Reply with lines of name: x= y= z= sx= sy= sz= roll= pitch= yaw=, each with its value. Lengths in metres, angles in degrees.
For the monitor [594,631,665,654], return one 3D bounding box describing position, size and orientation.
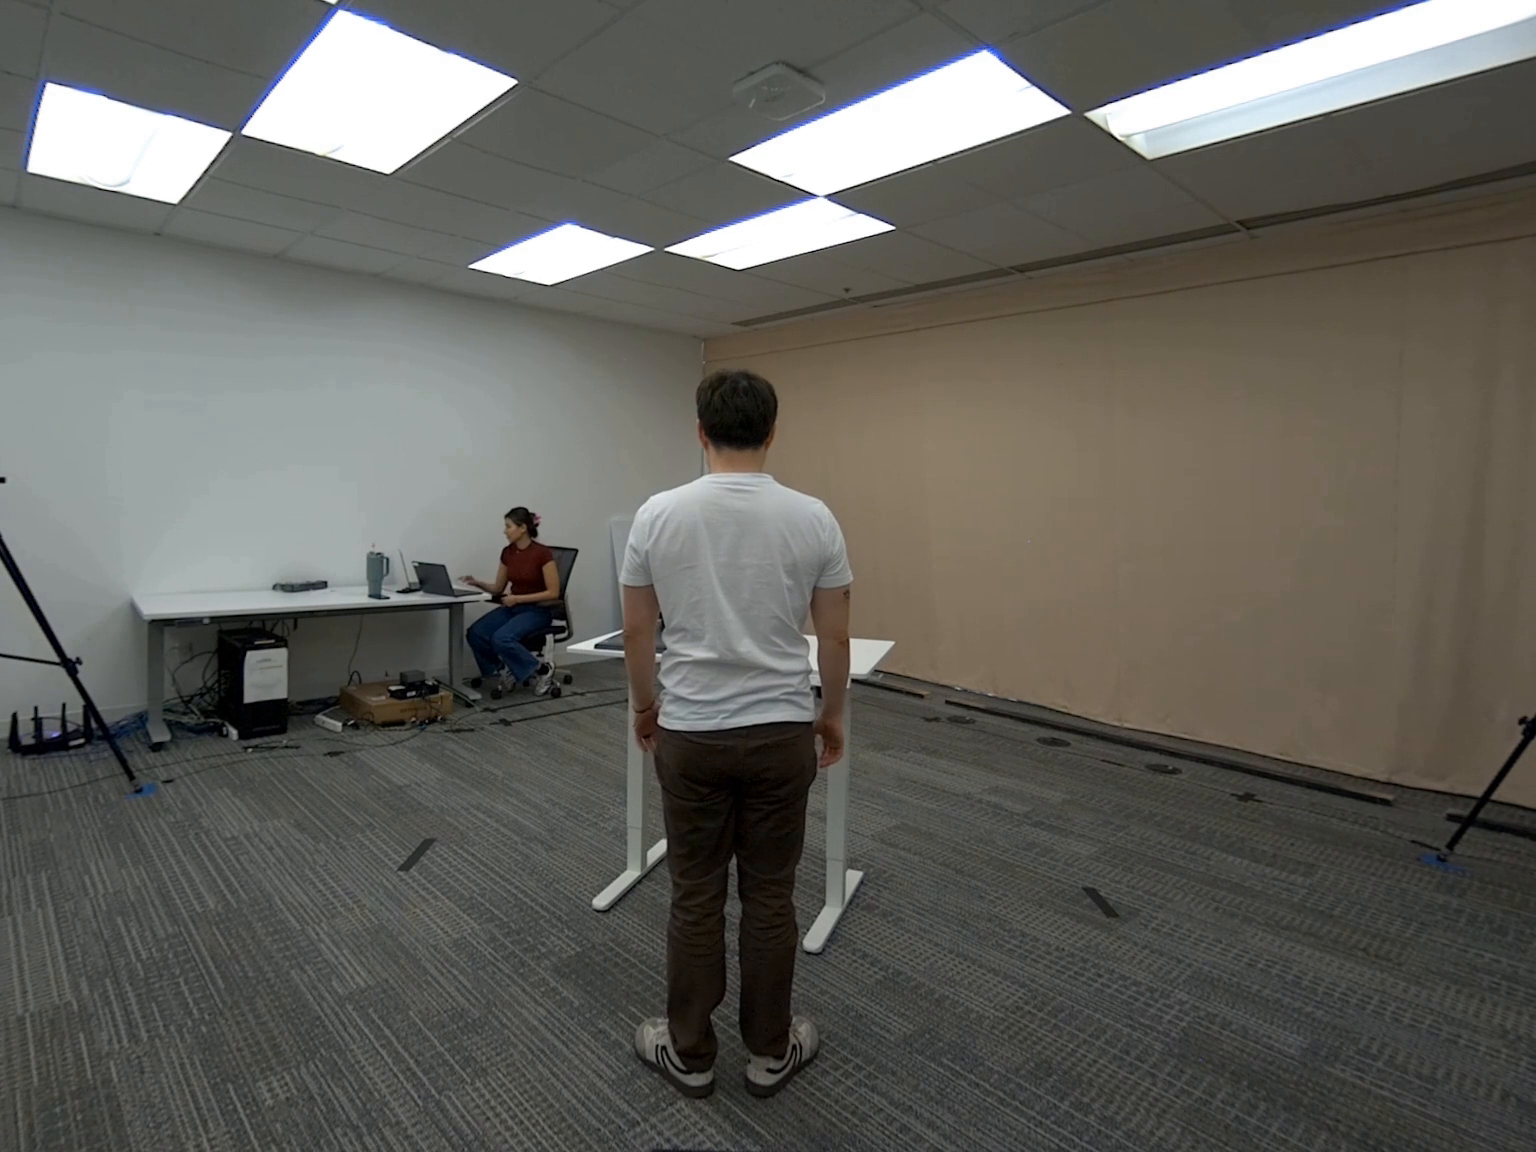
monitor: x=-0.273 y=0.172 z=2.962 sx=0.527 sy=0.187 sz=0.533 roll=-17 pitch=-1 yaw=15
